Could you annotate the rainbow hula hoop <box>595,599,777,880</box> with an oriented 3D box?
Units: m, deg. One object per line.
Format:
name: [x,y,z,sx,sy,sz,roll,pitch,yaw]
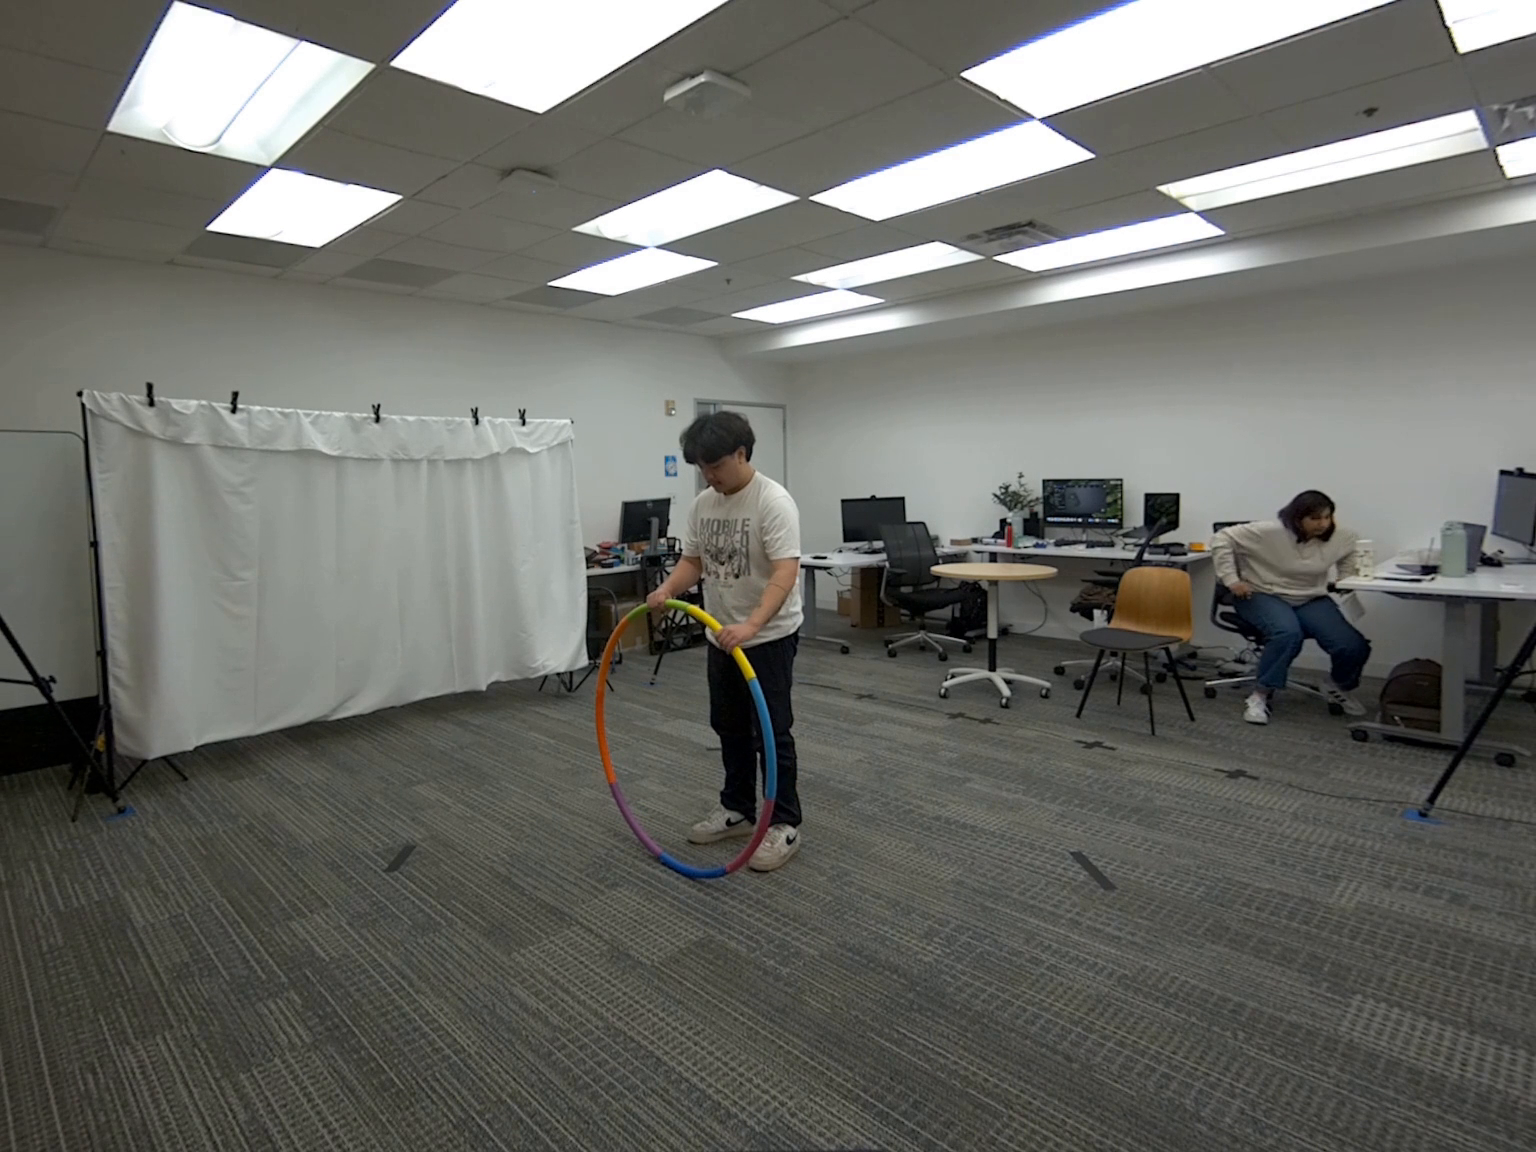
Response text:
rainbow hula hoop: [-0.326,0.572,3.034,0.050,0.982,1.016,-3,5,-42]
